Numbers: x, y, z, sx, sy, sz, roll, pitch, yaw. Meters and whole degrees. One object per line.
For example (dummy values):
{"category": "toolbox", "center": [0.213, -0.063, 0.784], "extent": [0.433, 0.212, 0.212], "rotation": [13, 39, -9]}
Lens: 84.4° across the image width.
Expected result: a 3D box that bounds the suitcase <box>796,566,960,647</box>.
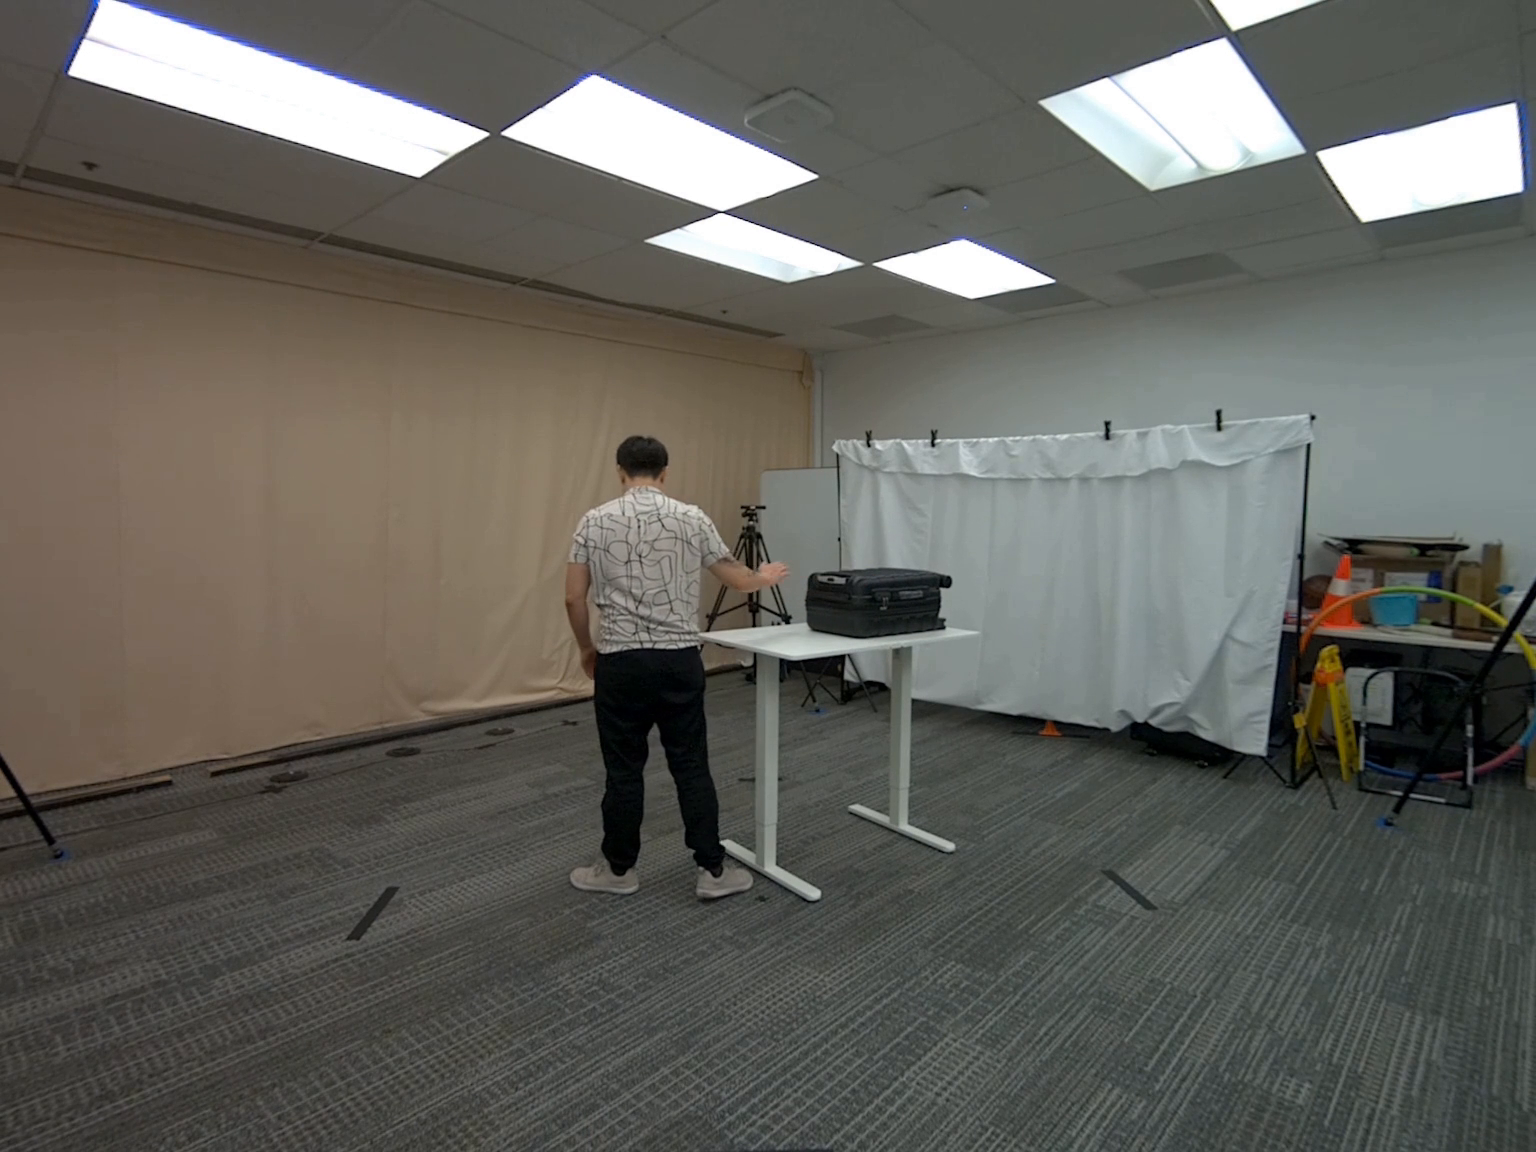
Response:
{"category": "suitcase", "center": [0.447, 0.107, 3.441], "extent": [0.533, 0.248, 0.388], "rotation": [-3, 6, -39]}
